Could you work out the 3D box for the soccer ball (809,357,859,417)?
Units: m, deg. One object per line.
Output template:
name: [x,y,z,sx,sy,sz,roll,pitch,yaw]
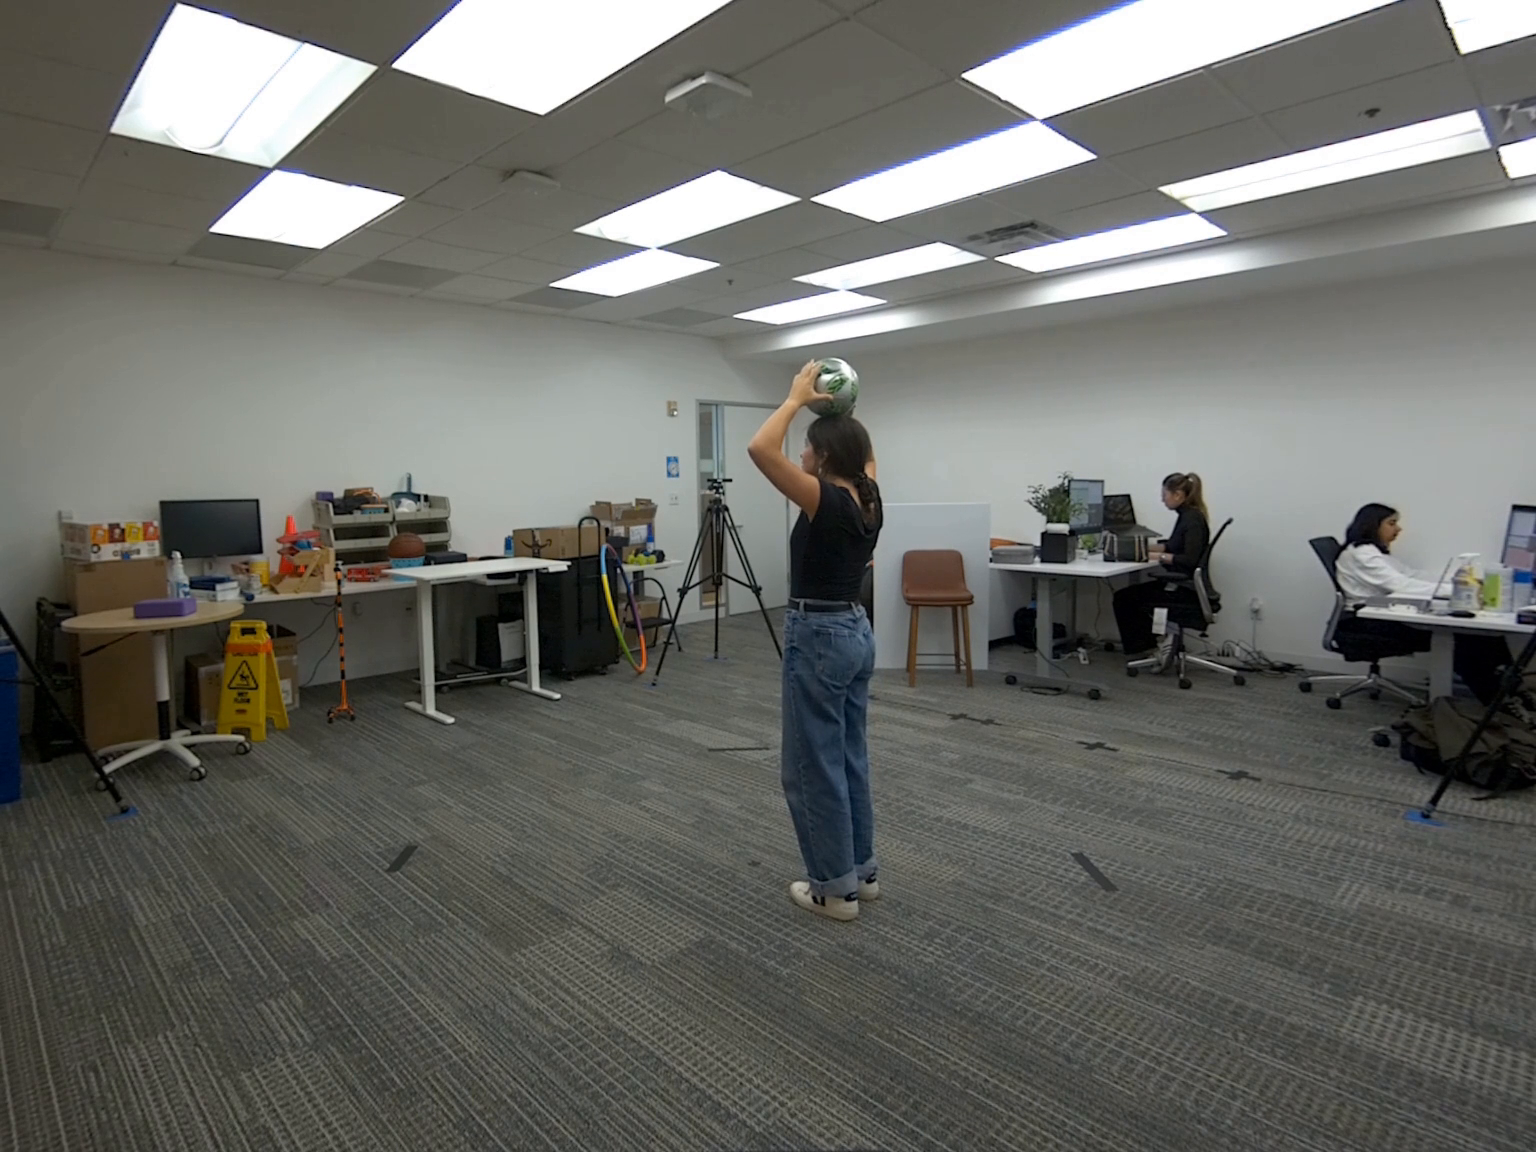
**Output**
soccer ball: [0.202,-0.598,2.740,0.187,0.187,0.188,-1,5,-2]
